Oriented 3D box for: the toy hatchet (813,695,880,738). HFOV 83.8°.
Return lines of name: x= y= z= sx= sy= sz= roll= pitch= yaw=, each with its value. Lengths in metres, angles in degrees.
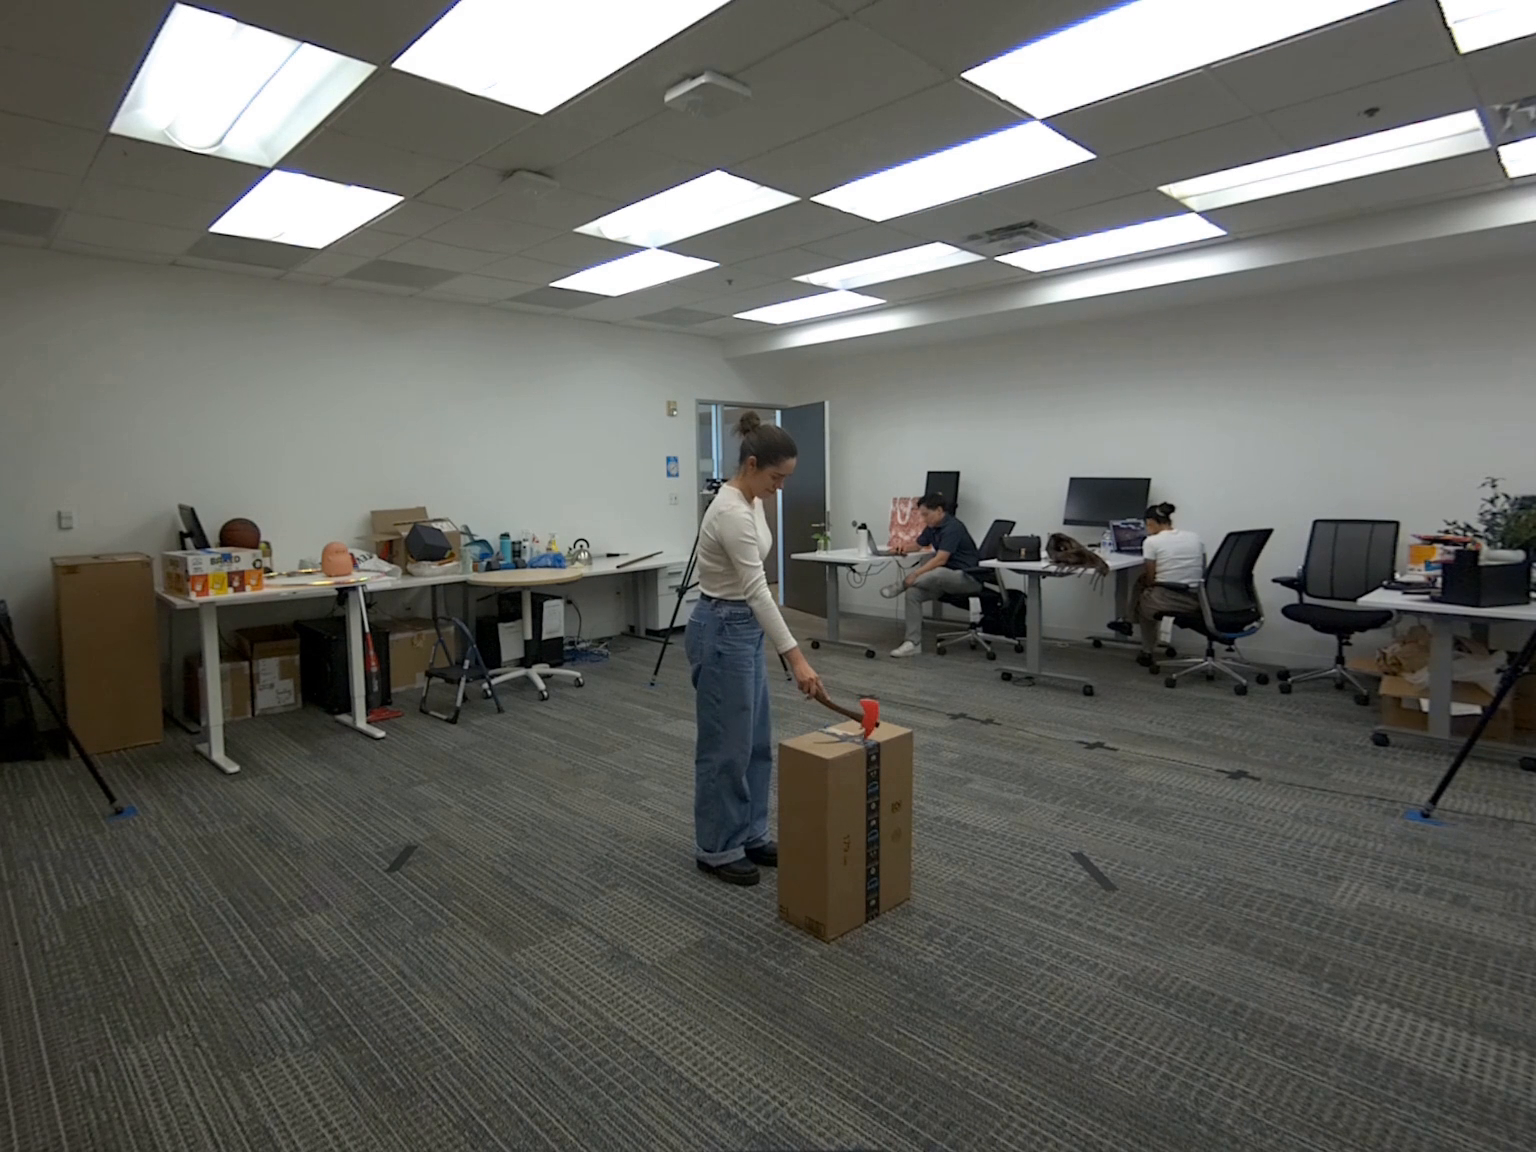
toy hatchet: x=0.231 y=0.379 z=2.714 sx=0.277 sy=0.130 sz=0.029 roll=42 pitch=23 yaw=19
